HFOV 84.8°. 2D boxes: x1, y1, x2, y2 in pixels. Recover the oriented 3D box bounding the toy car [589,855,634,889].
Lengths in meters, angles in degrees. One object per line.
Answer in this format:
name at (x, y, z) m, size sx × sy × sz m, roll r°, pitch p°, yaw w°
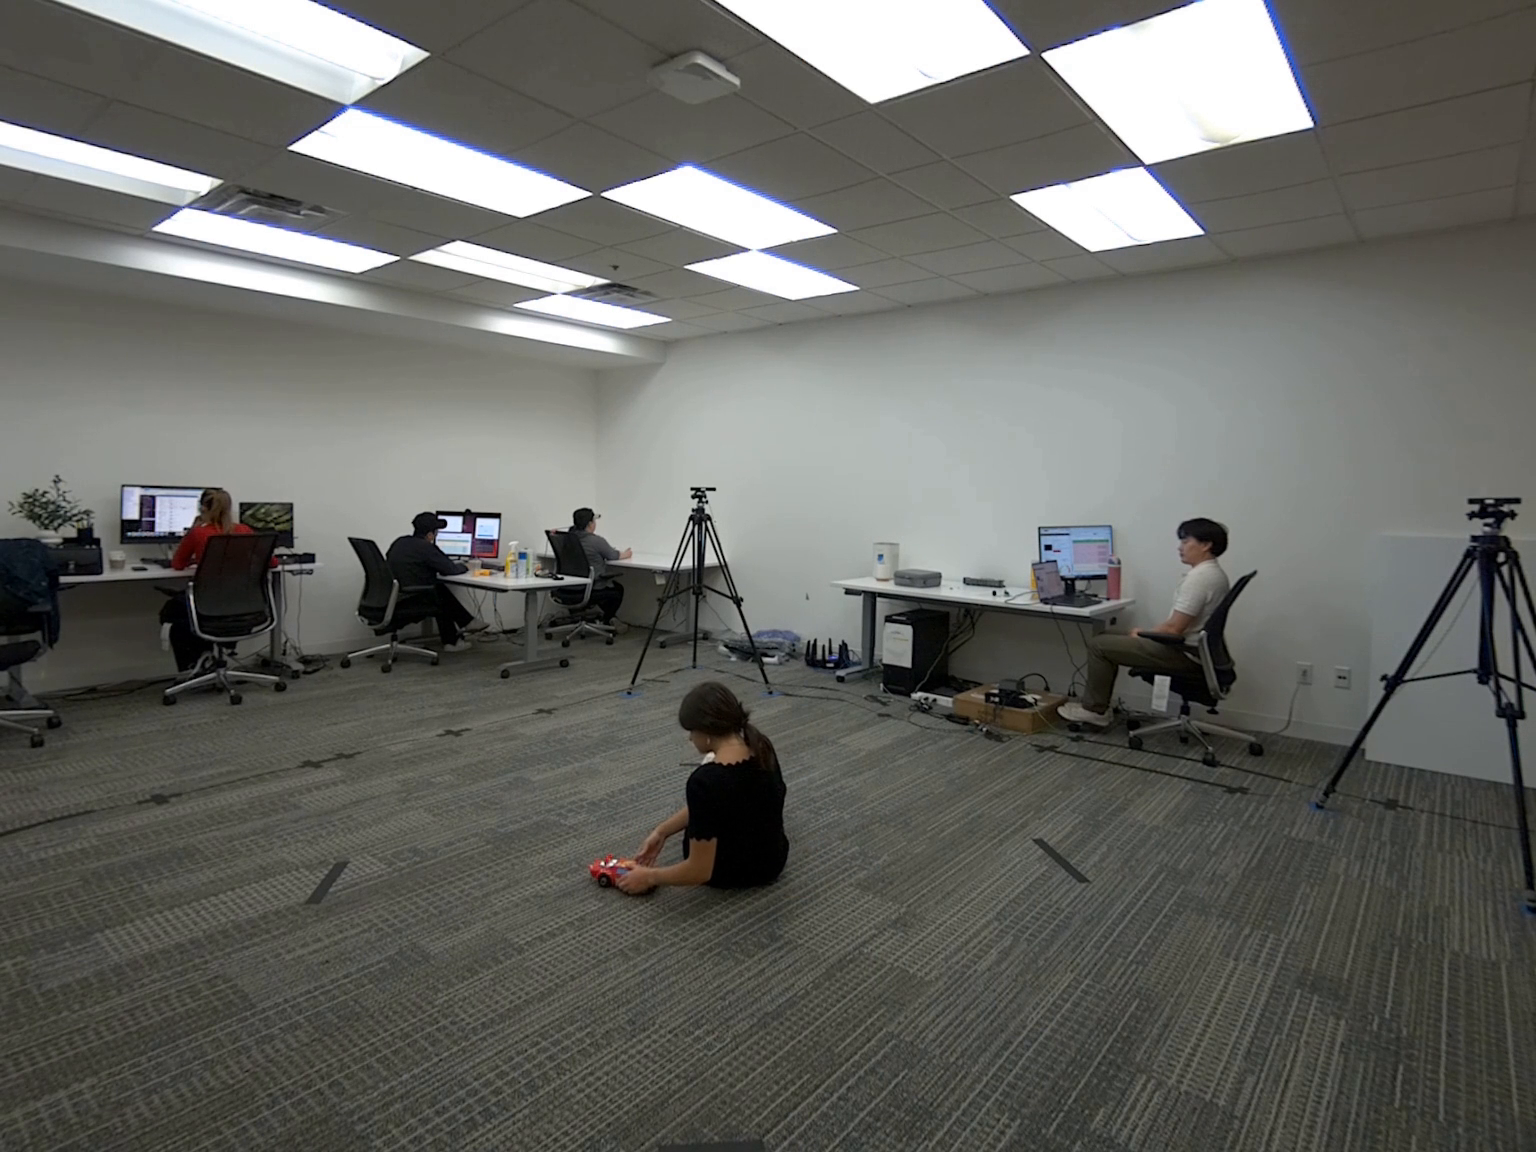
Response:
toy car at (-0.518, 1.043, 2.978) m, size 0.260 × 0.083 × 0.128 m, roll 13°, pitch 5°, yaw 17°
